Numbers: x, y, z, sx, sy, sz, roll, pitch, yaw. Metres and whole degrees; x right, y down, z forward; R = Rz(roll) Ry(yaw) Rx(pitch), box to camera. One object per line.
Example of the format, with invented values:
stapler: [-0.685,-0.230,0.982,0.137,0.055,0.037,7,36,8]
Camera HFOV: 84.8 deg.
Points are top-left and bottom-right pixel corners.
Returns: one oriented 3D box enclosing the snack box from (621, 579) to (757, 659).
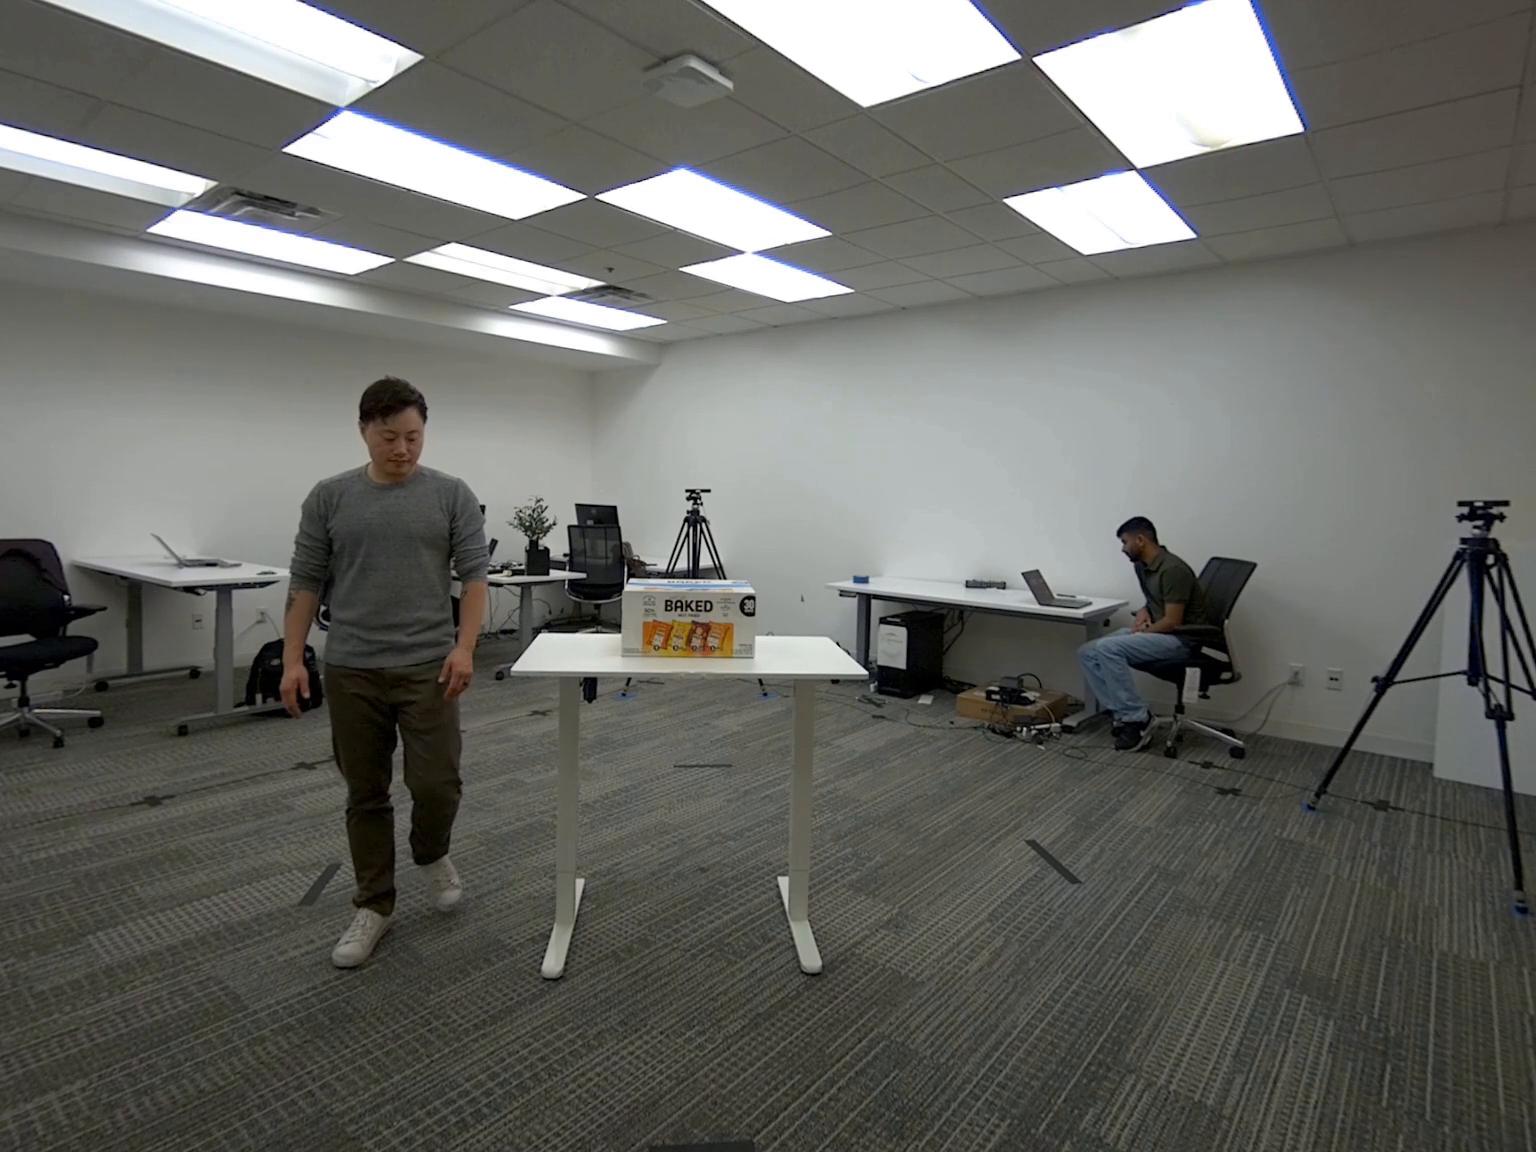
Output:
snack box: [-0.267,0.129,2.726,0.404,0.205,0.343,1,6,-4]
